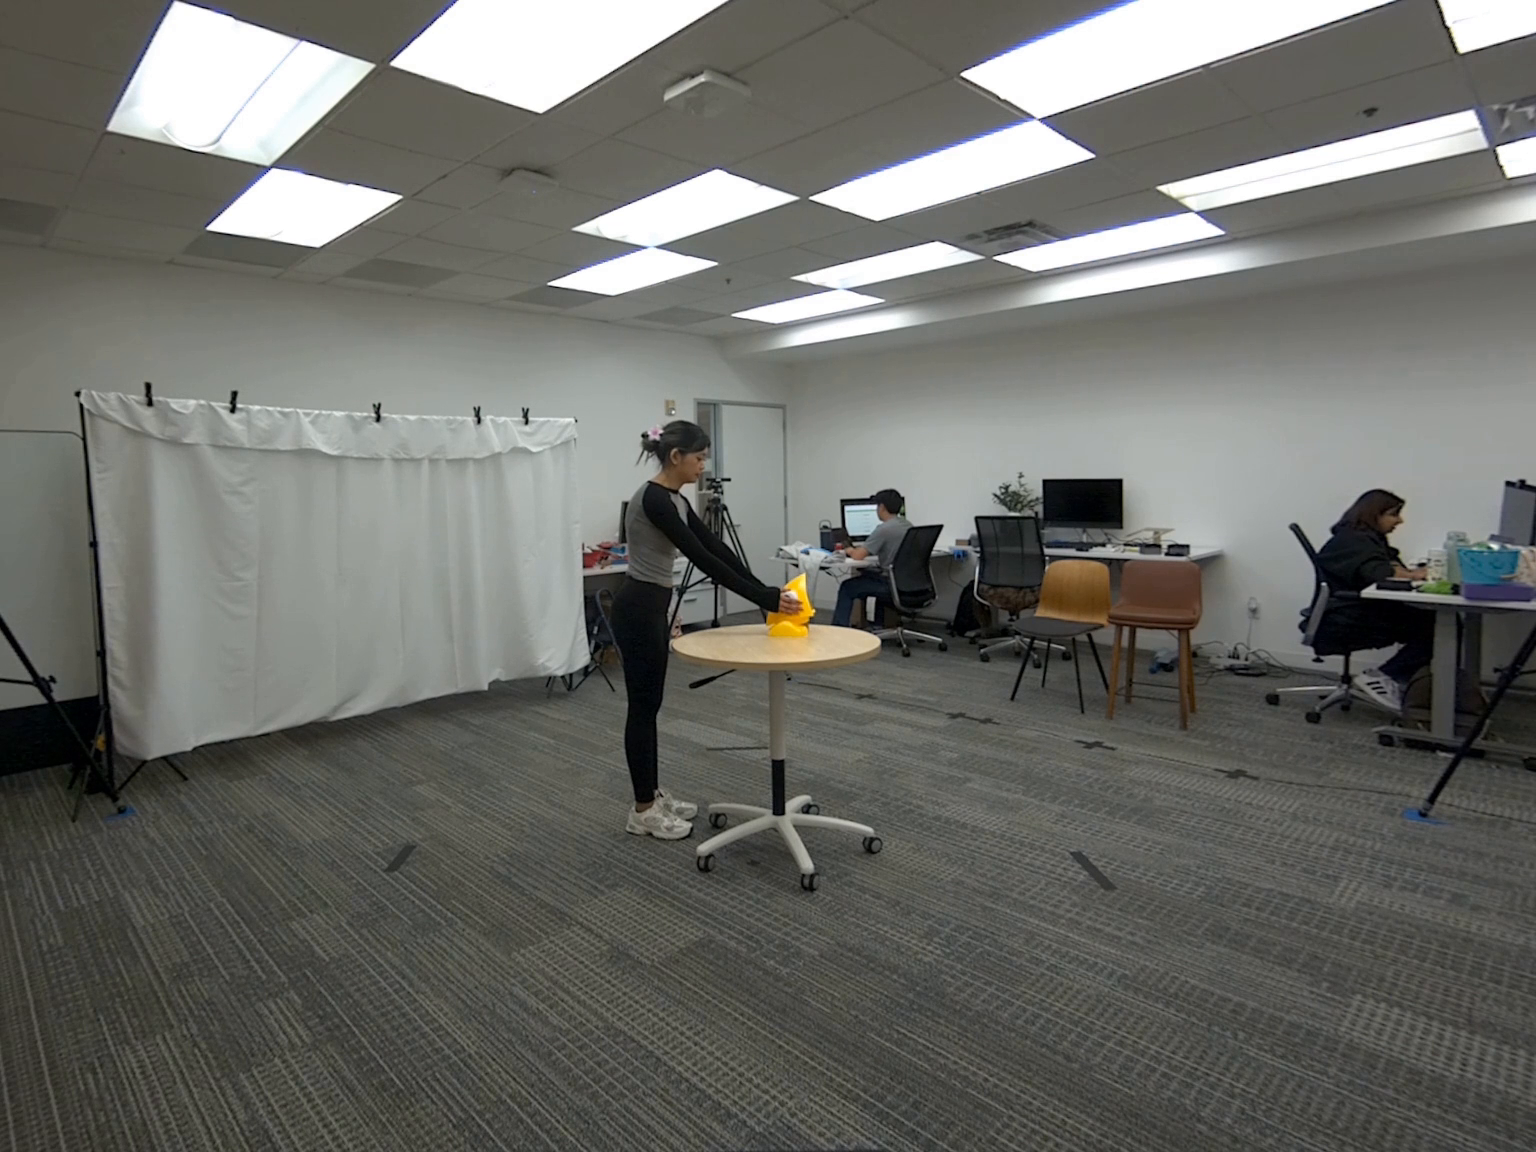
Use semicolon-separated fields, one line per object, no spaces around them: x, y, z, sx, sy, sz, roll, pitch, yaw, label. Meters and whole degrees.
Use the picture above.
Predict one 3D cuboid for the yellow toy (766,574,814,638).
0.086;0.105;3.329;0.194;0.230;0.204;0;3;5;yellow toy
